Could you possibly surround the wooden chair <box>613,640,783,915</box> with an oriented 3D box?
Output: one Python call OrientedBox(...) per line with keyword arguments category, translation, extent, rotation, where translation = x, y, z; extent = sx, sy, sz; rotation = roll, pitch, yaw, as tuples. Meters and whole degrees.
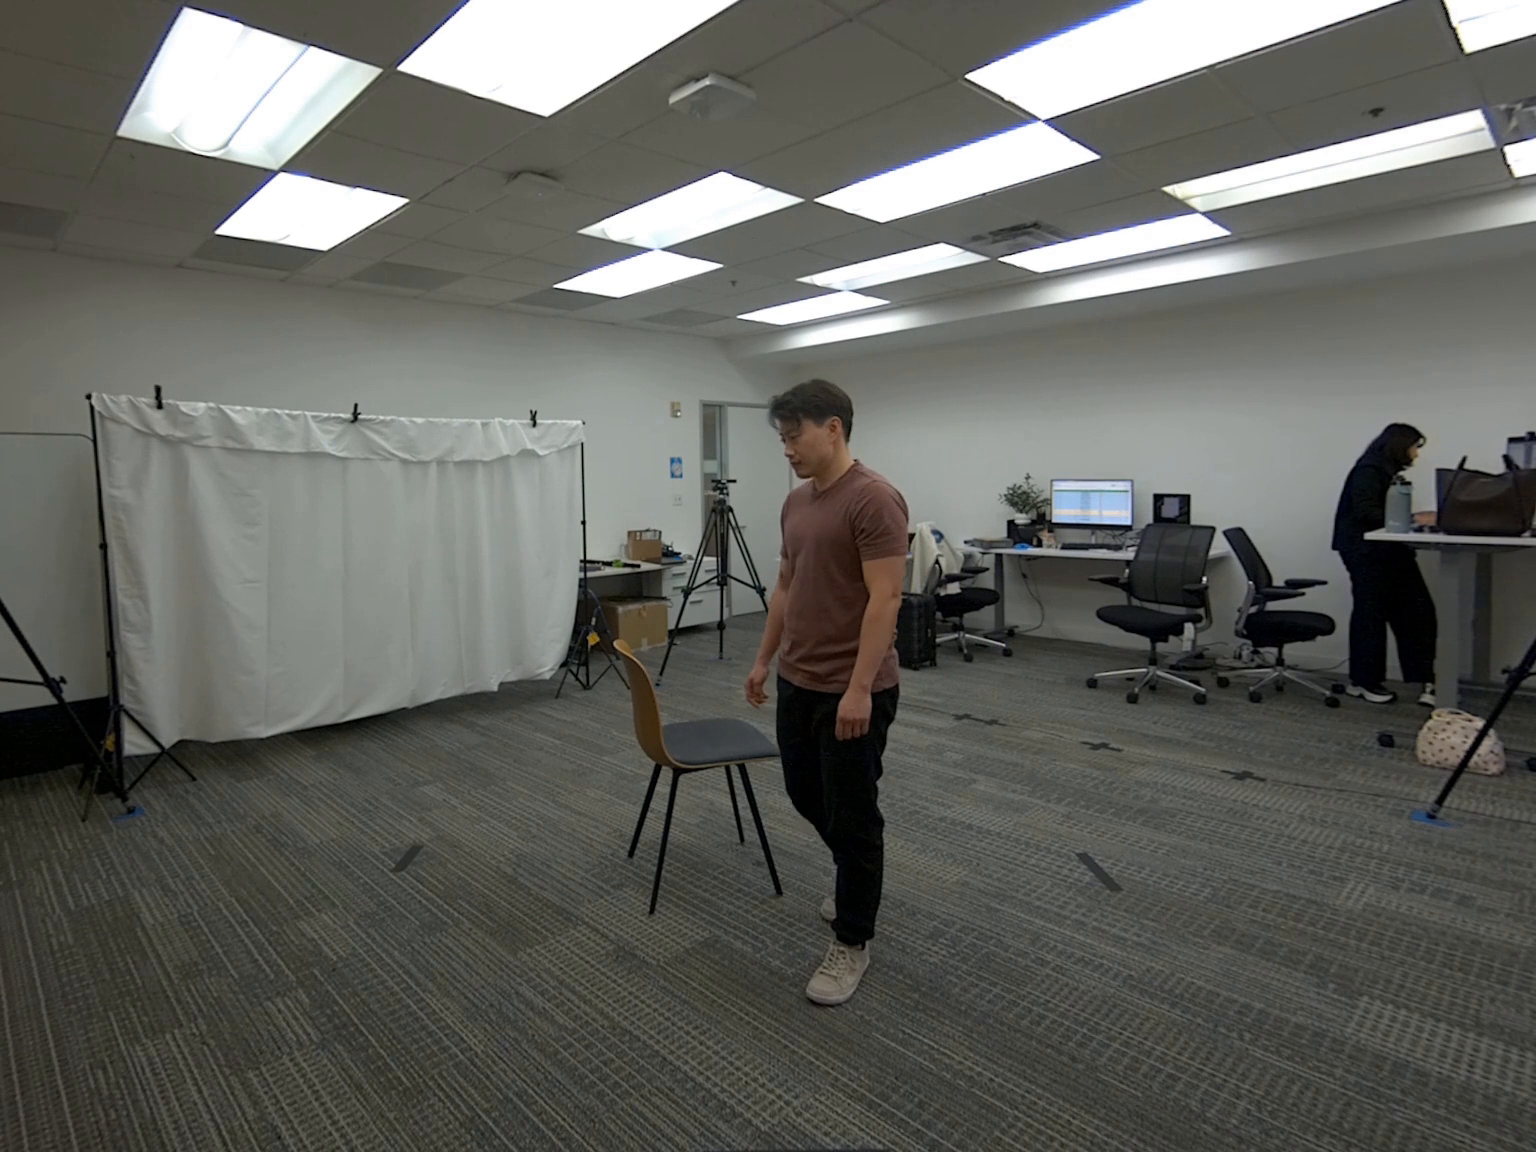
OrientedBox(category="wooden chair", translation=(-0.237, 0.638, 2.997), extent=(0.516, 0.873, 0.487), rotation=(-6, 5, -16))
